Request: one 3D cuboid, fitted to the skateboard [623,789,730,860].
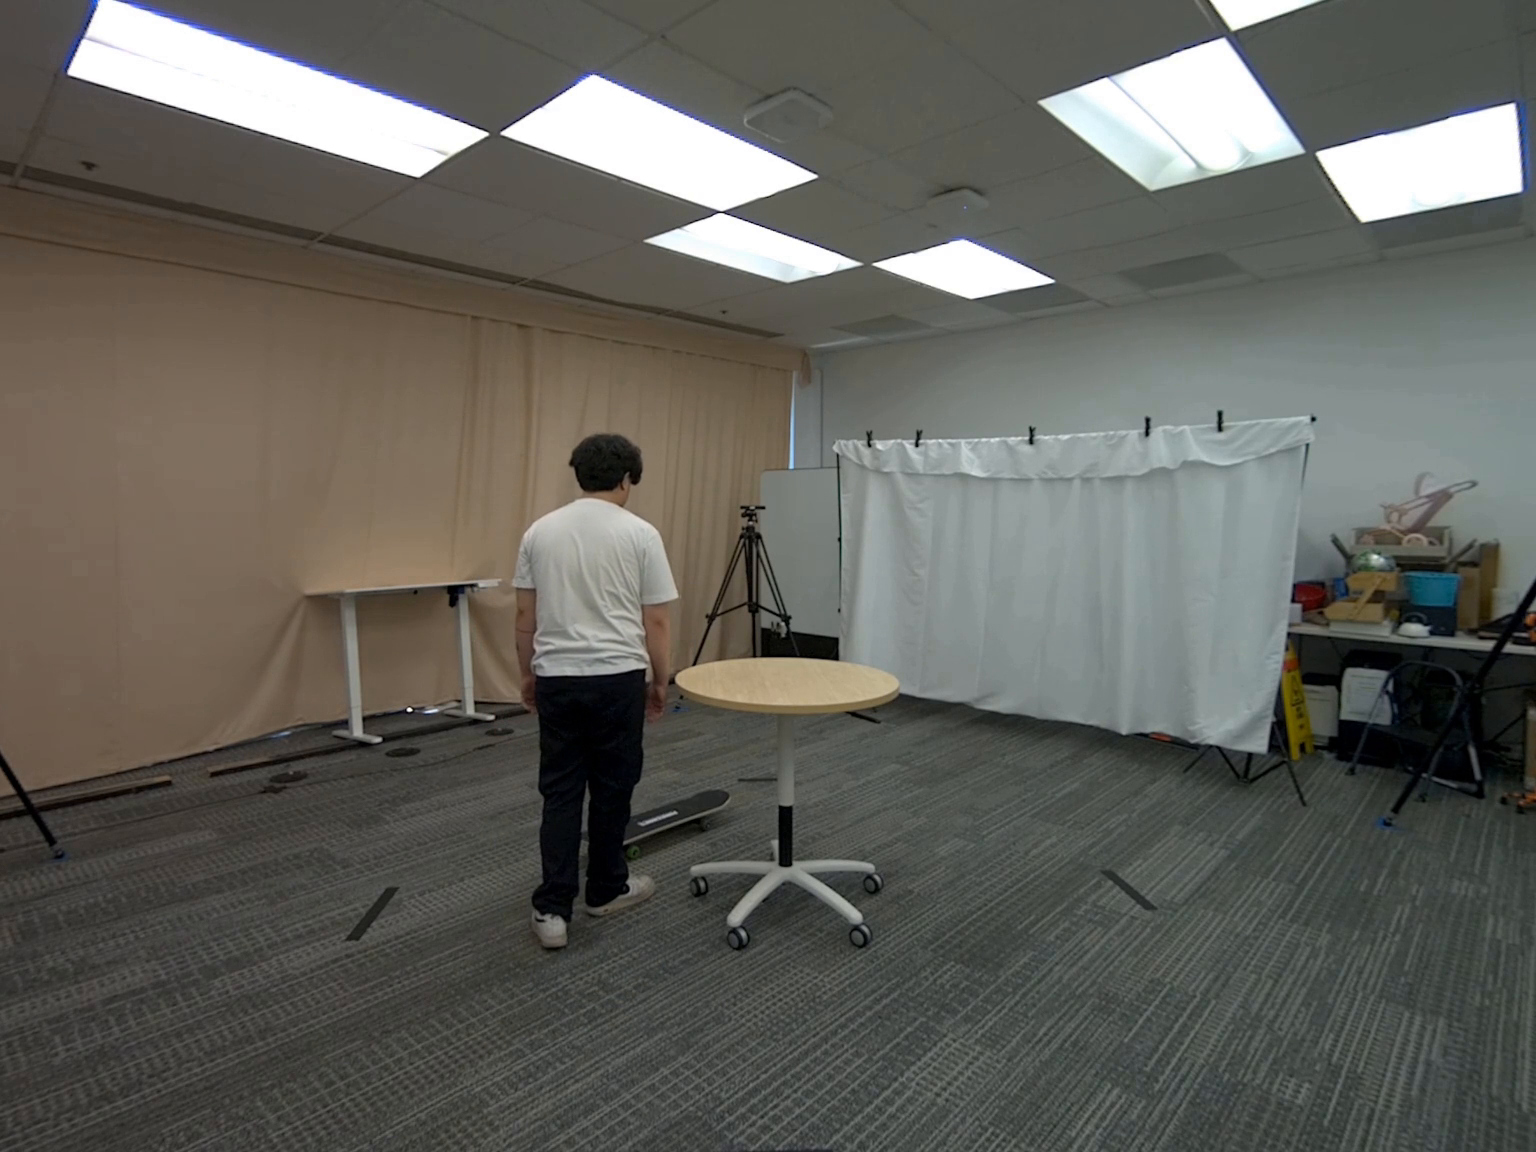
[{"bbox_3d":[-0.470,1.050,3.527,0.200,0.110,0.761,3,6,44],"label":"skateboard"}]
